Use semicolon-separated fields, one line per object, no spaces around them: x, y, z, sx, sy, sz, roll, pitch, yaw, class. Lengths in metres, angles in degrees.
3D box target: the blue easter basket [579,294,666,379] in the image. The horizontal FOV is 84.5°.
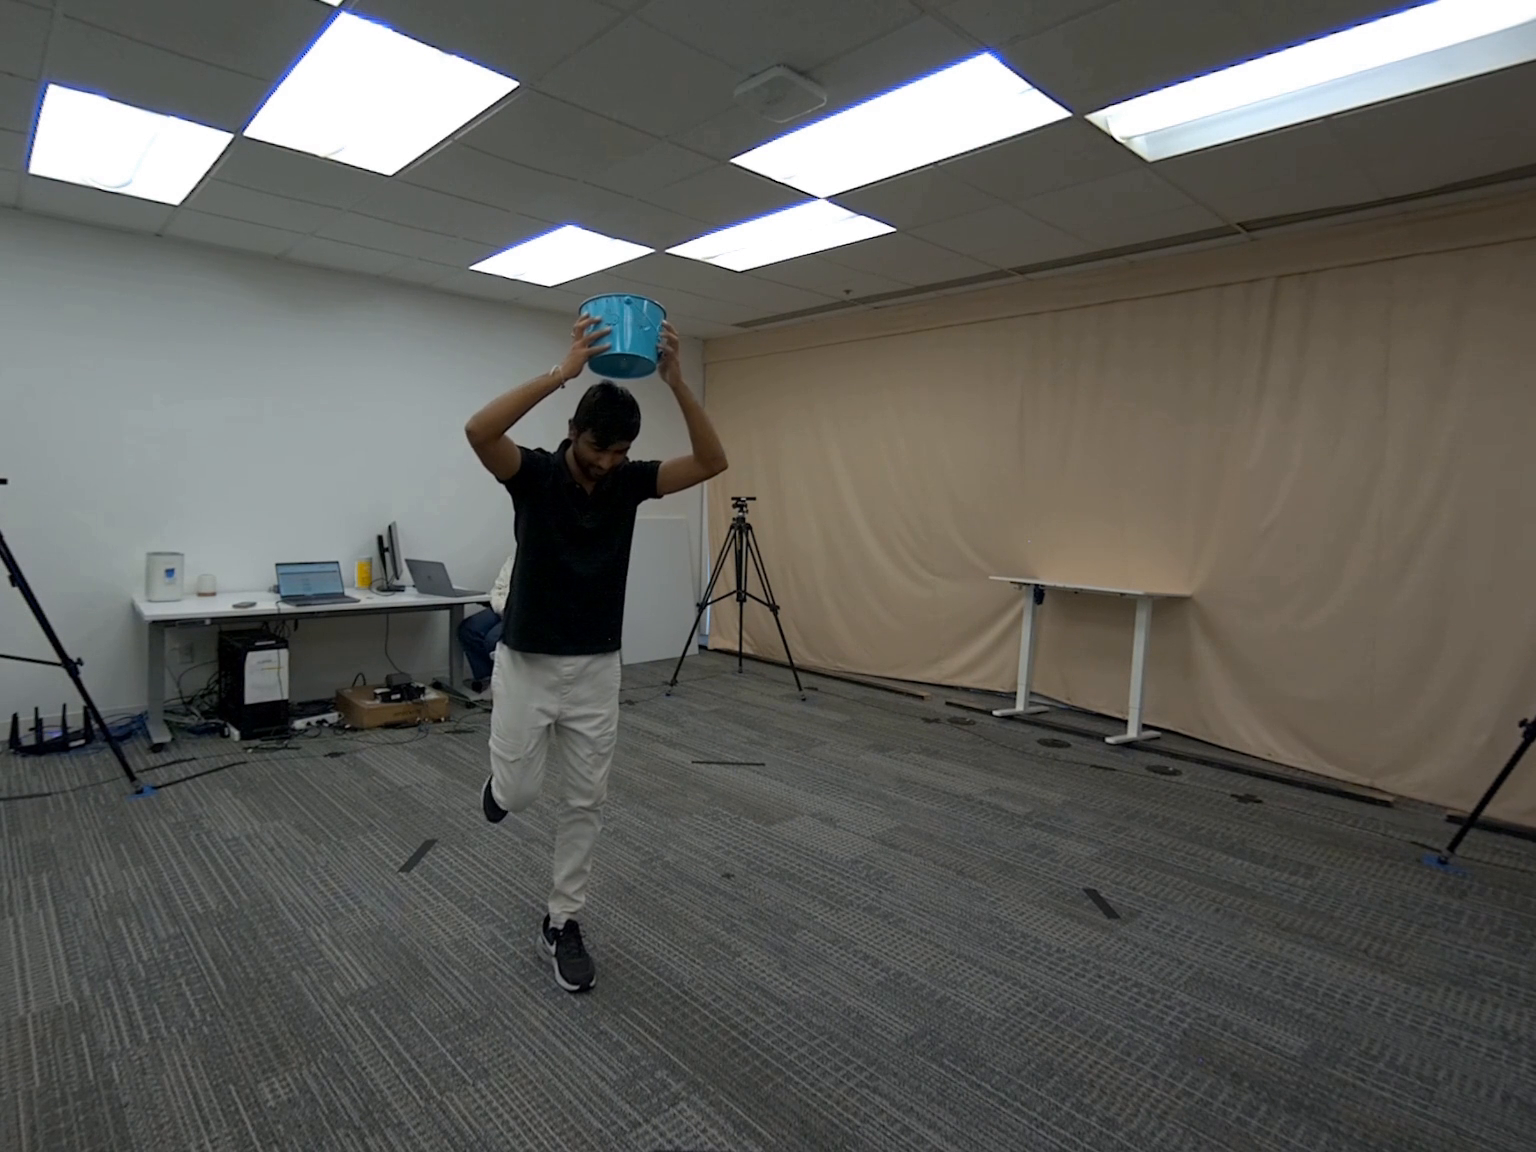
-0.404;-0.632;2.243;0.243;0.157;0.242;-1;-8;-1;blue easter basket
